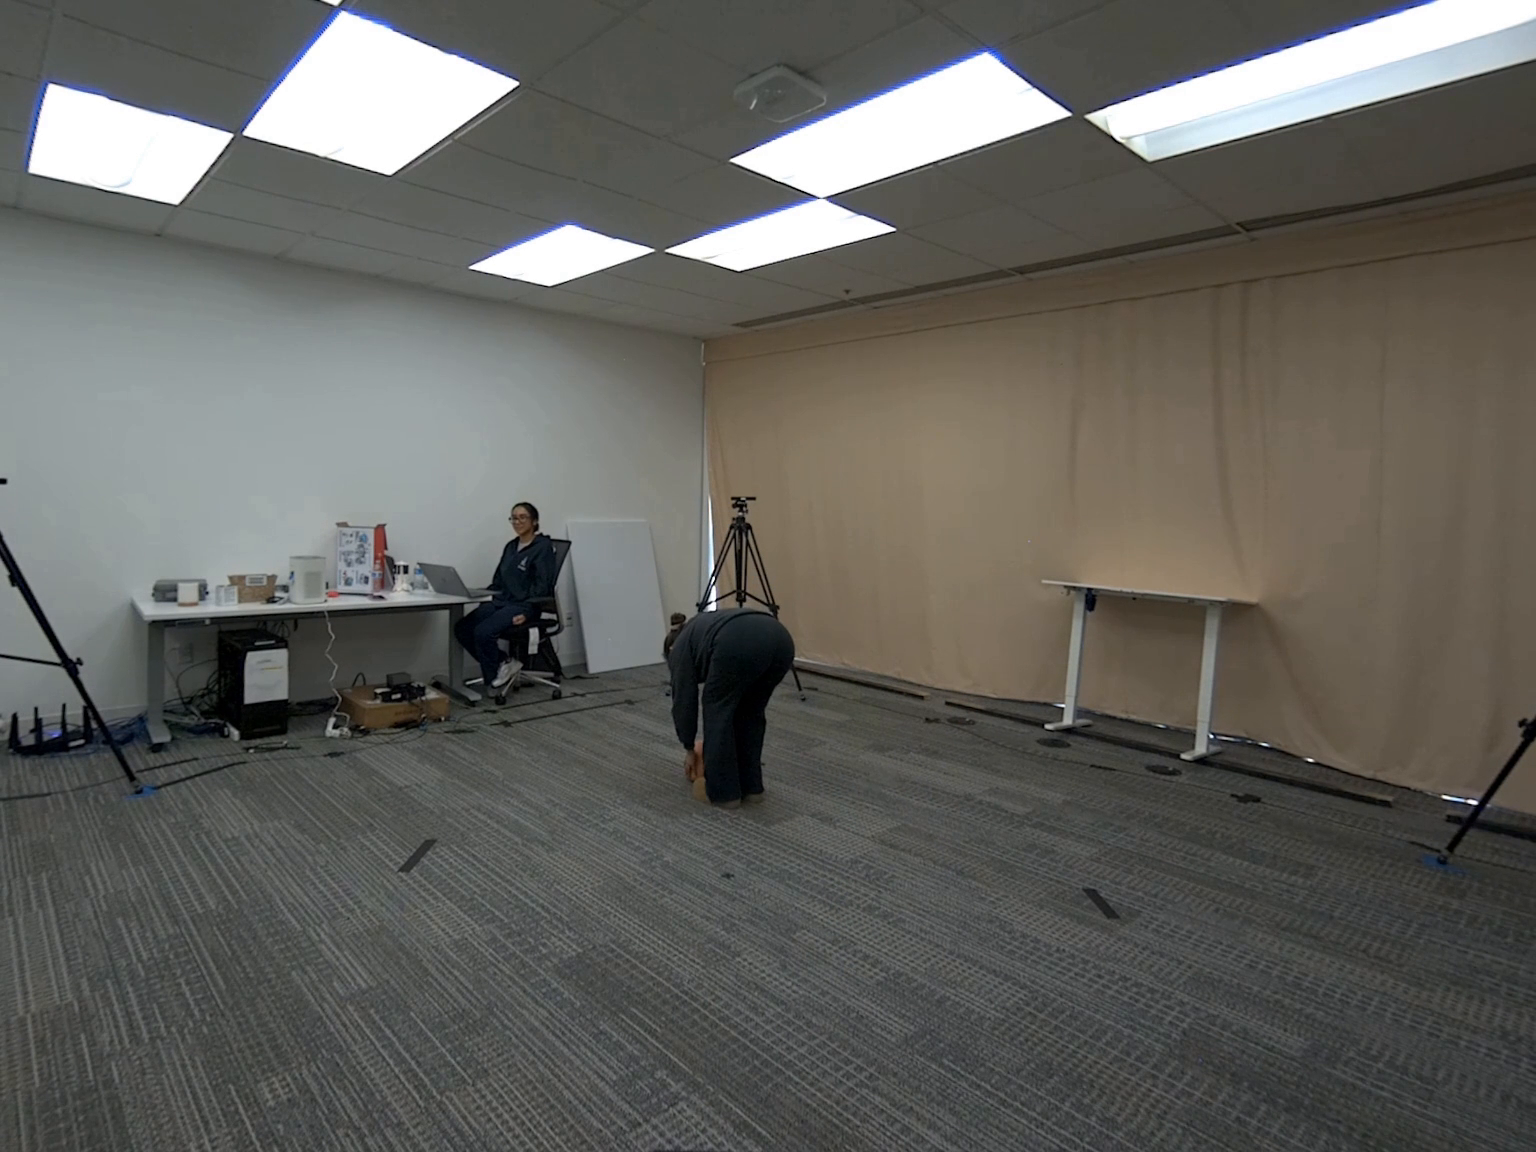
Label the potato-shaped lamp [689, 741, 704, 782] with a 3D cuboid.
[{"bbox_3d":[-0.336,0.894,4.174,0.161,0.197,0.175,0,5,-29],"label":"potato-shaped lamp"}]
